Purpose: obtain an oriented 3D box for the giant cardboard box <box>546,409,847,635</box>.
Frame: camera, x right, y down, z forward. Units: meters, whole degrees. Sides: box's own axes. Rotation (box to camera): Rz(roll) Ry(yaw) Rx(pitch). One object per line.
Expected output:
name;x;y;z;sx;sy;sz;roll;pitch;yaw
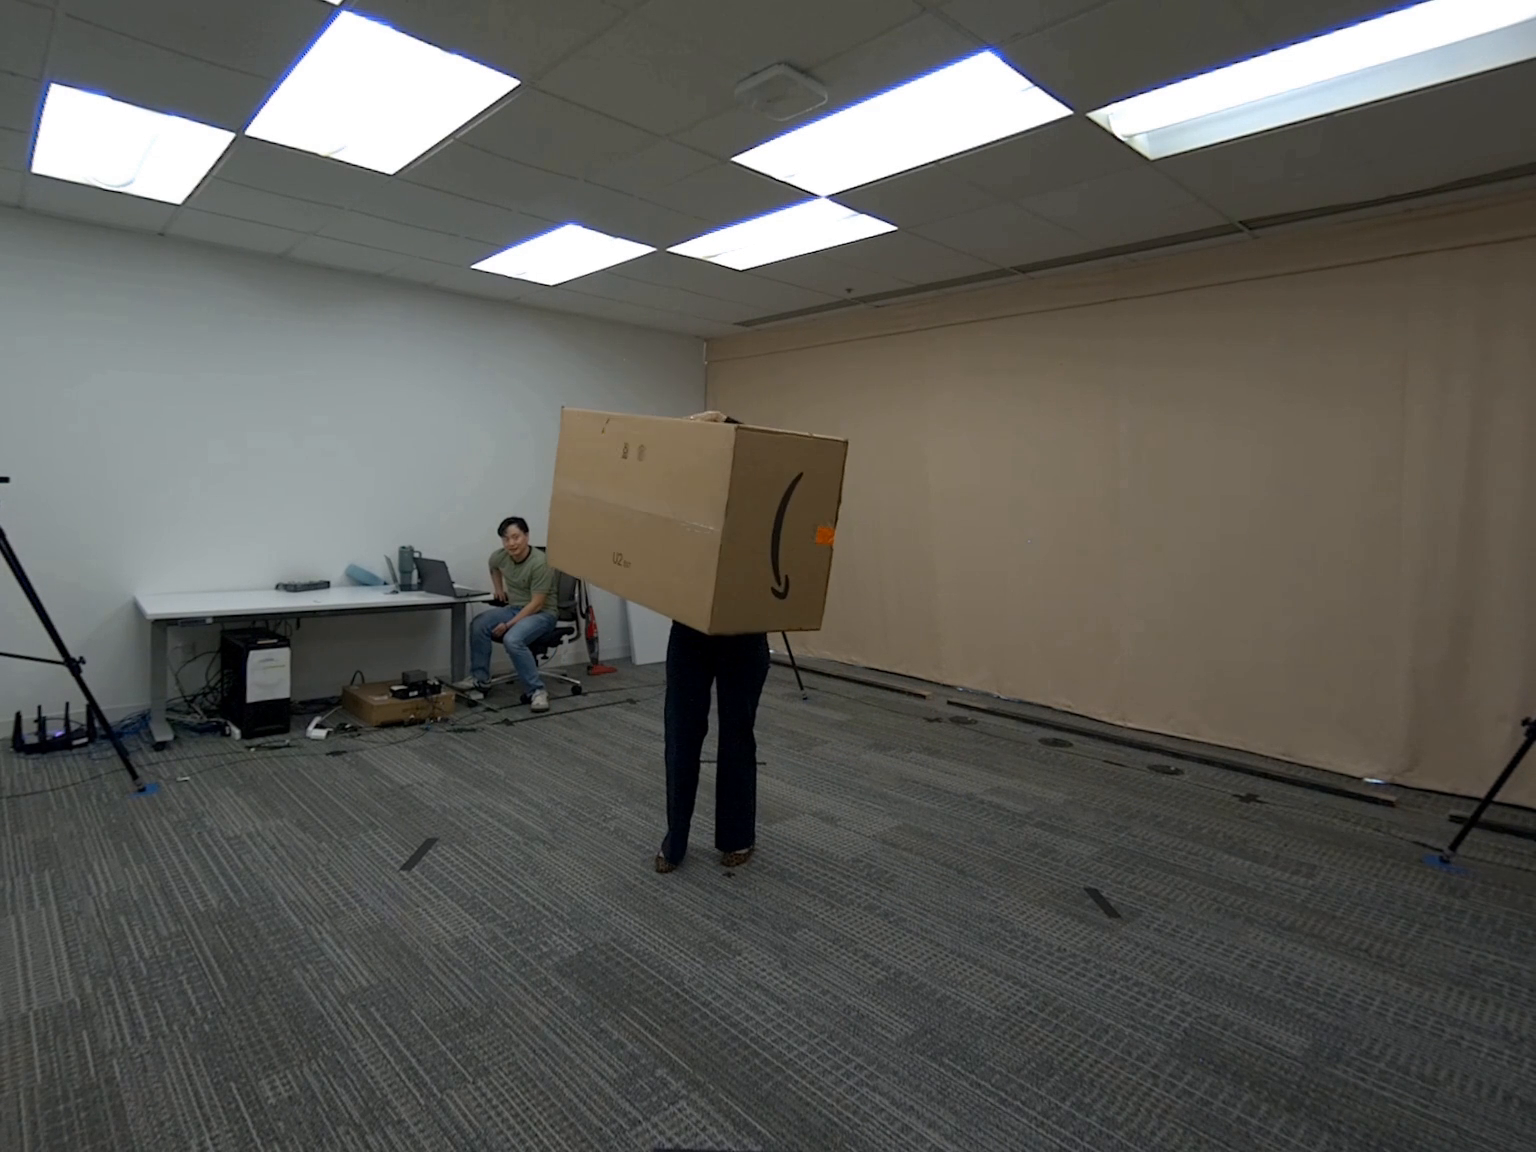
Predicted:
giant cardboard box;-0.291;-0.226;2.758;0.416;0.575;1.055;3;9;-41
